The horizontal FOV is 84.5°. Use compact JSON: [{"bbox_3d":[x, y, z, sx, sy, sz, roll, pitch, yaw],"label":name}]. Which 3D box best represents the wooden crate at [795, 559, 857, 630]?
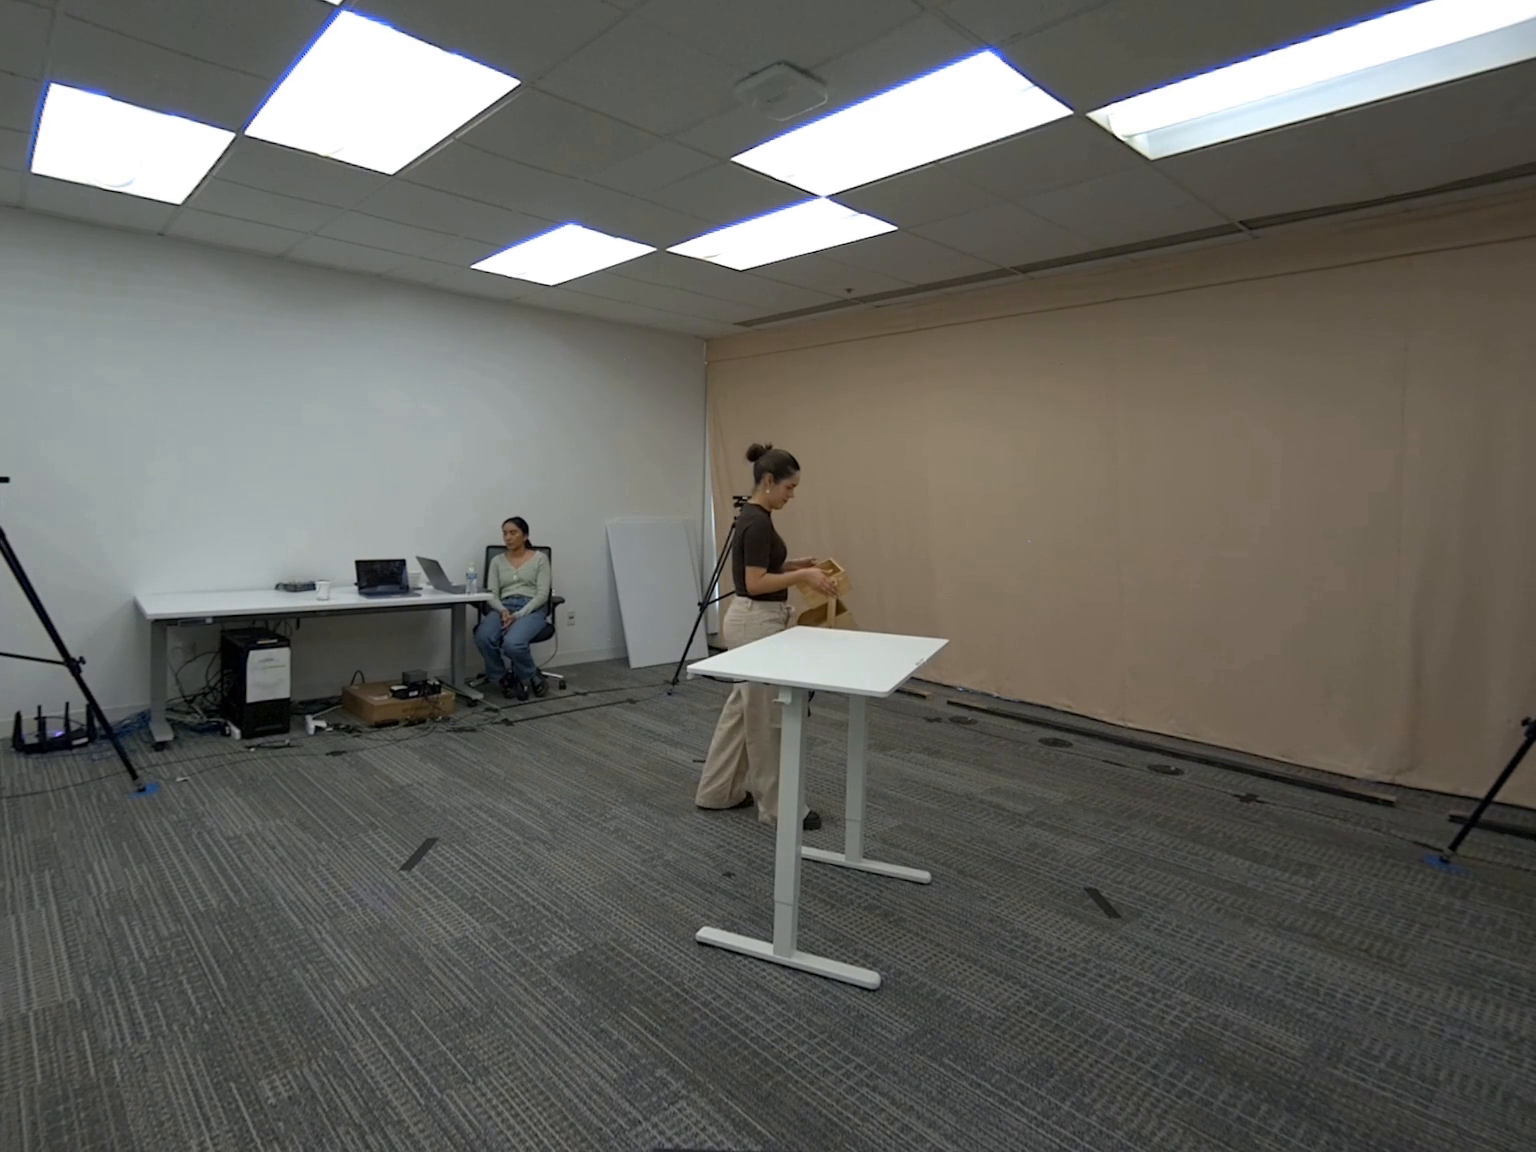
[{"bbox_3d":[0.208,0.117,3.695,0.302,0.270,0.329,-24,13,-3],"label":"wooden crate"}]
